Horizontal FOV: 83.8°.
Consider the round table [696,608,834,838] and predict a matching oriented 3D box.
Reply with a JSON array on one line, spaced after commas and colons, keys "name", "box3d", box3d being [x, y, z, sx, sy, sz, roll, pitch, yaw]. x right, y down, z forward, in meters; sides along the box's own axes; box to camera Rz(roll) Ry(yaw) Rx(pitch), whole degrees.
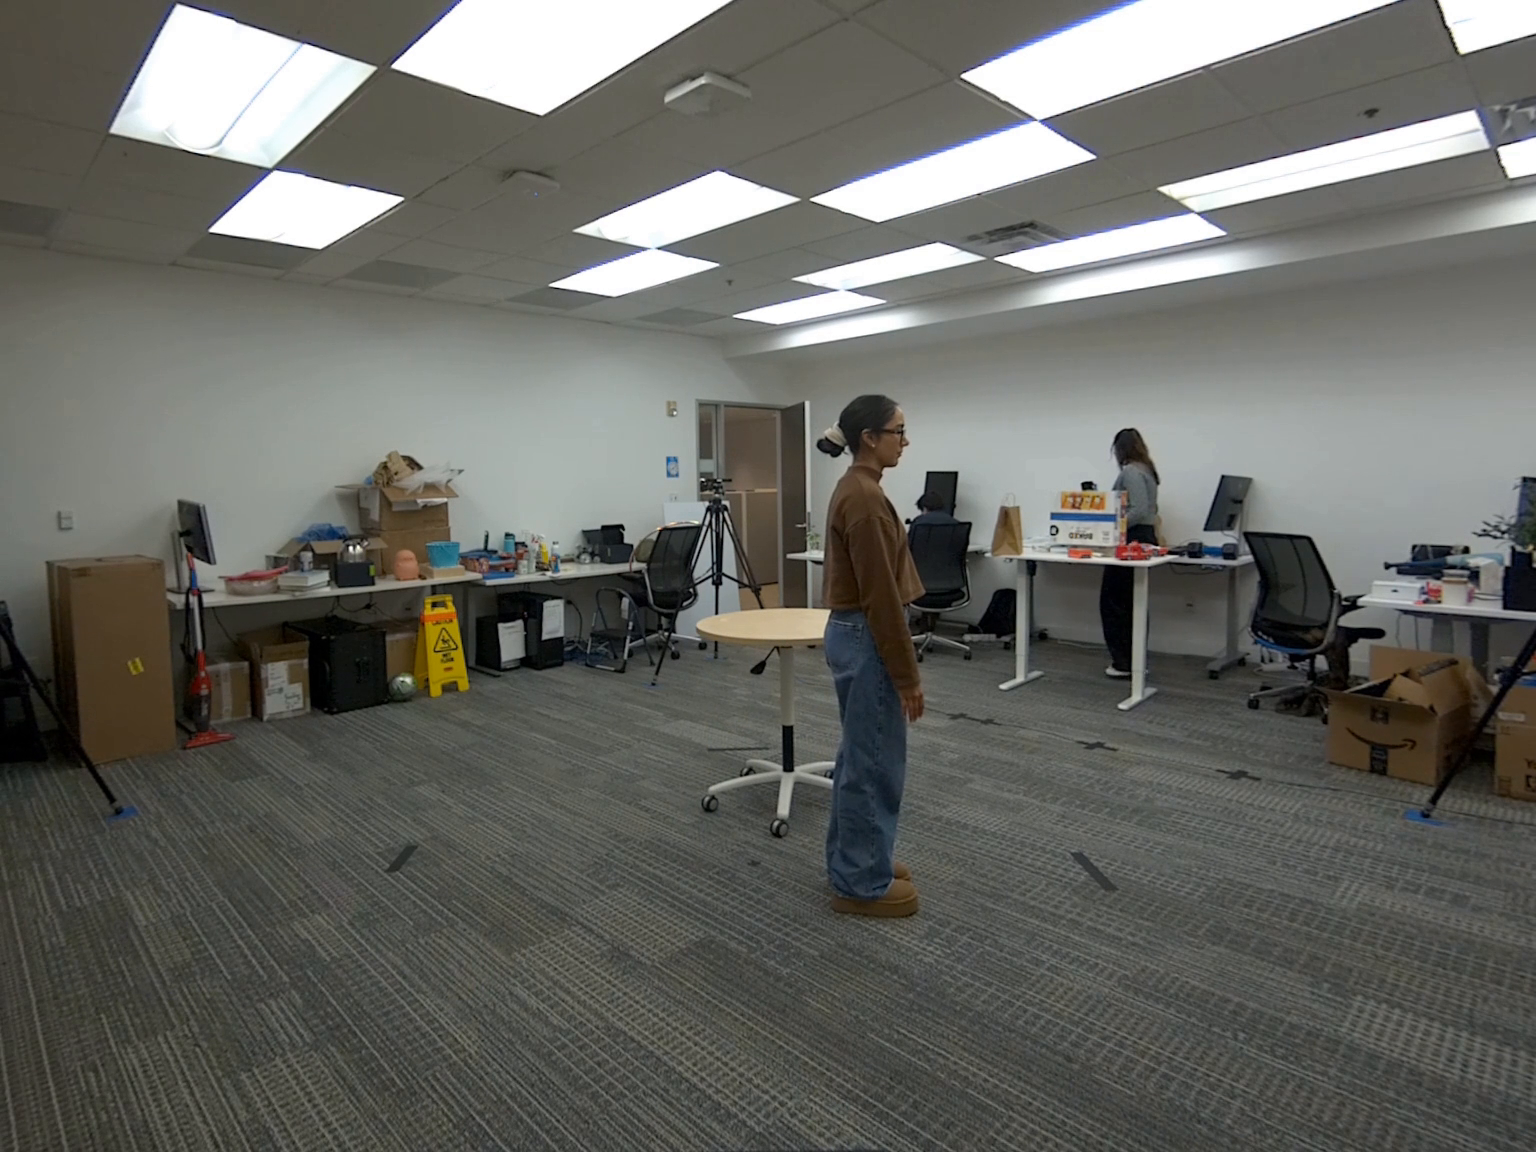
[{"name": "round table", "box3d": [0.078, 0.587, 3.674, 0.784, 0.783, 0.789, -1, 5, -2]}]
